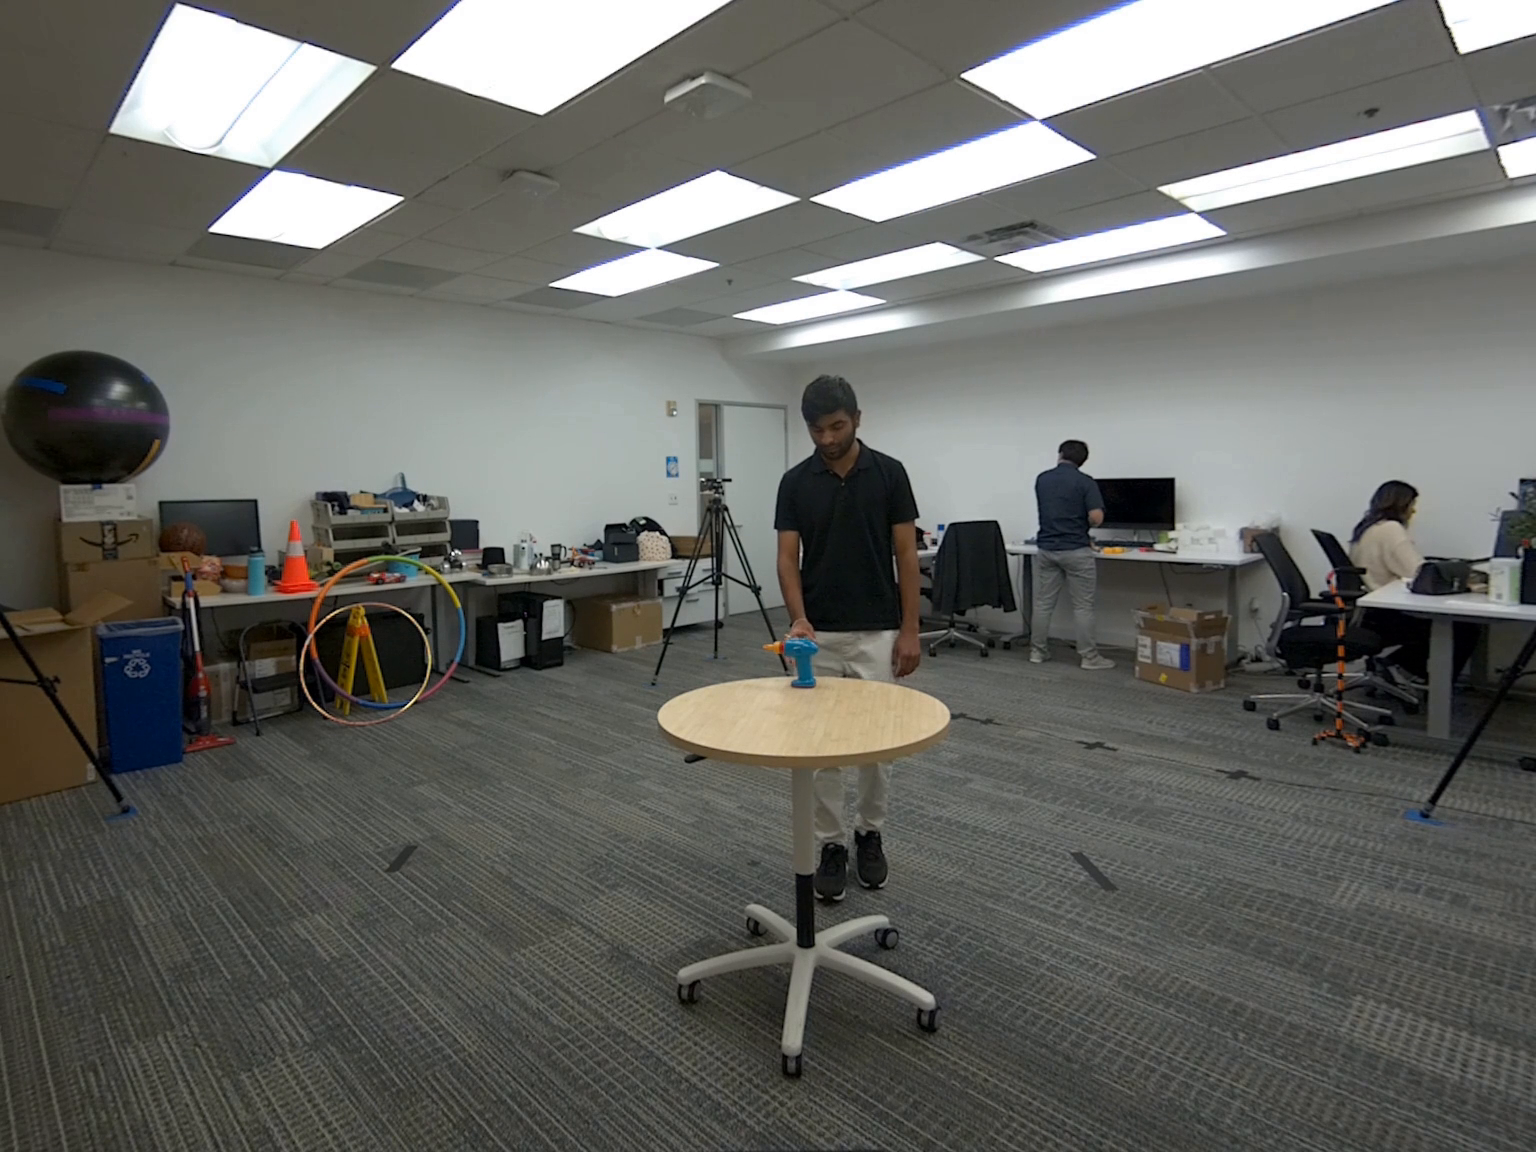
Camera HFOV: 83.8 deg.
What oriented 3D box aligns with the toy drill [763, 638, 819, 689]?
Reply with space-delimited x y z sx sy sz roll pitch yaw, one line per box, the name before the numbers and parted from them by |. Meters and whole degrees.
toy drill | 0.073 0.256 2.532 0.172 0.146 0.060 1 2 16
